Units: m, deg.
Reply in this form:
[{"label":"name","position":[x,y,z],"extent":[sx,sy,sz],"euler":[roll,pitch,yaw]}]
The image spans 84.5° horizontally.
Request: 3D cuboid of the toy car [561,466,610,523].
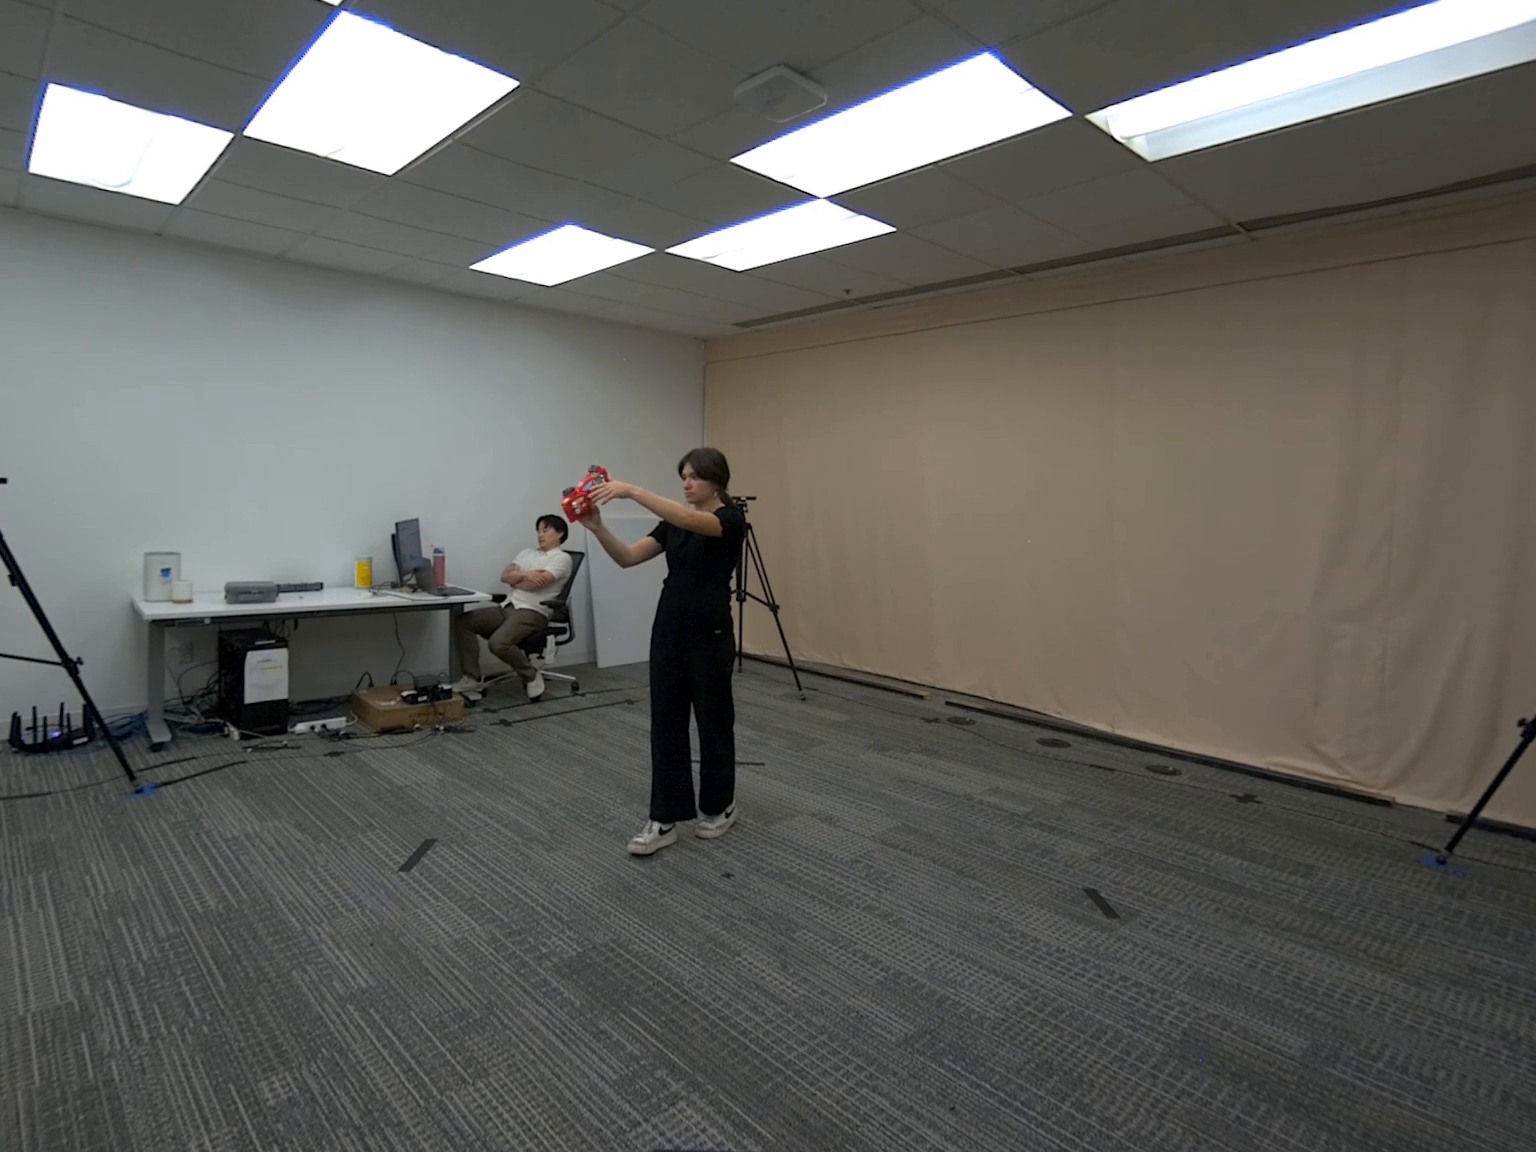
[{"label":"toy car","position":[-0.686,-0.302,3.128],"extent":[0.085,0.126,0.257],"euler":[-1,43,27]}]
